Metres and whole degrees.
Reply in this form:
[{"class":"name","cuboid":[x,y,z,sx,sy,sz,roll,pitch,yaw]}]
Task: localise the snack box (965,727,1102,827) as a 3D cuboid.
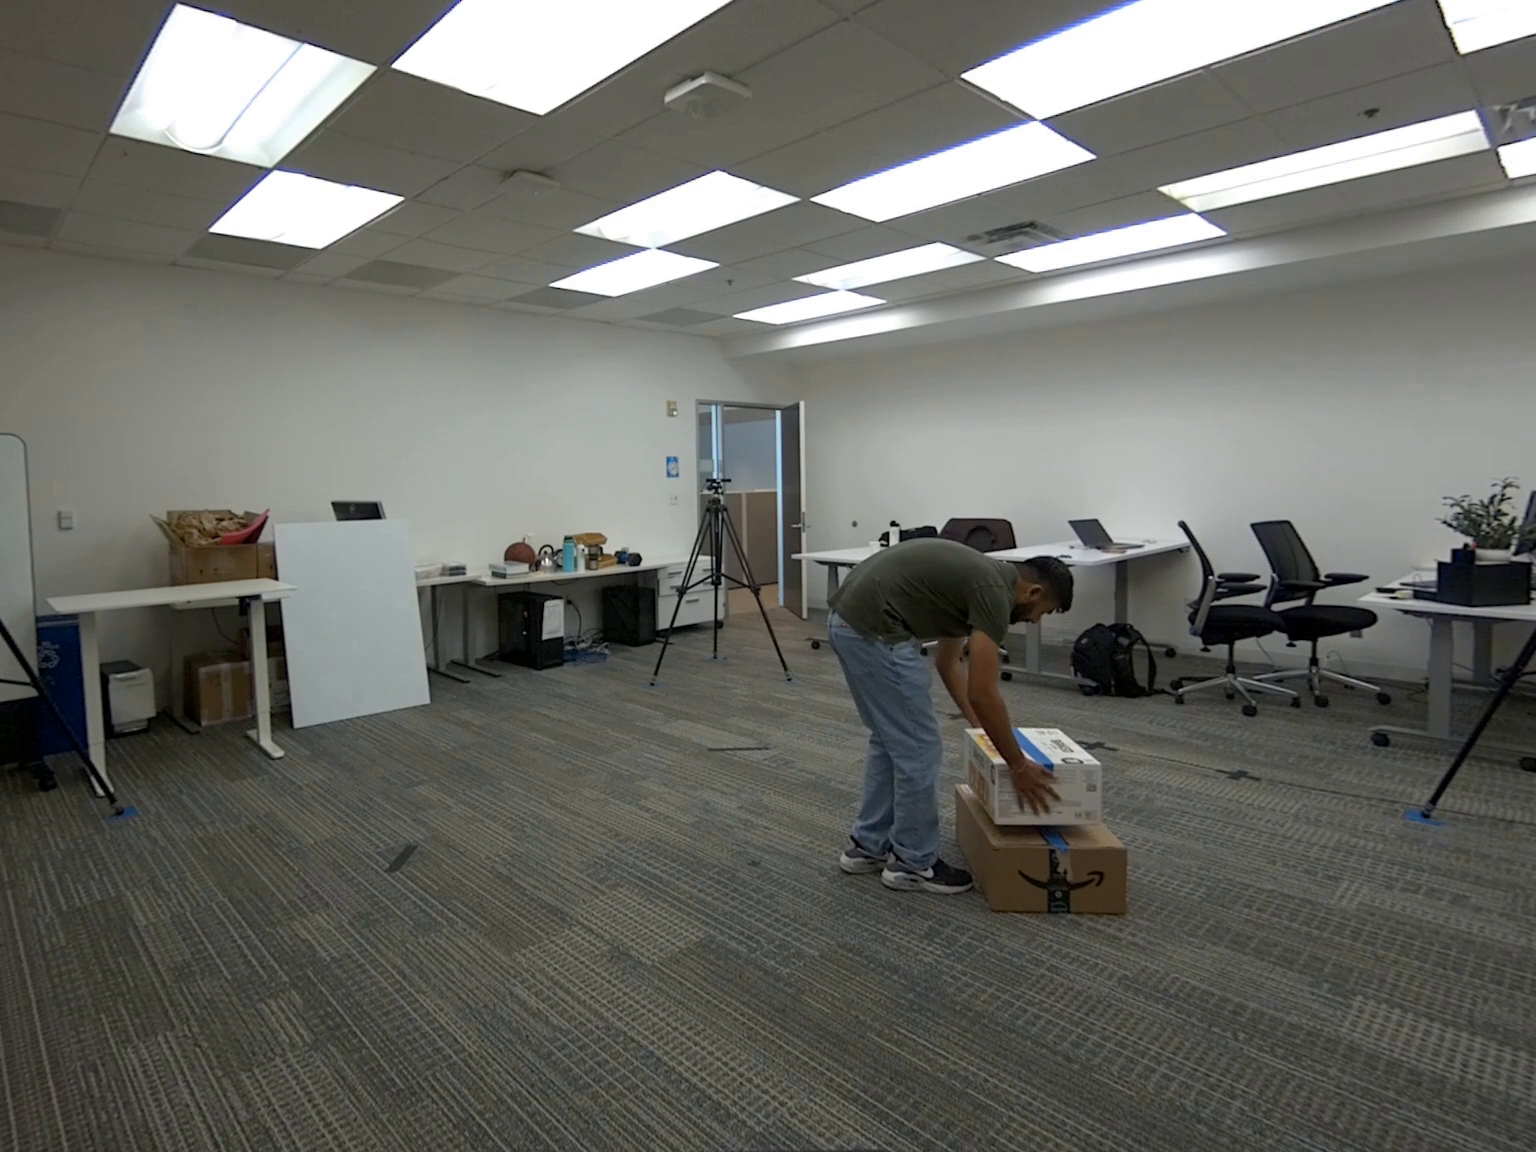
[{"class":"snack box","cuboid":[0.897,0.669,2.949,0.341,0.205,0.406,-1,6,1]}]
